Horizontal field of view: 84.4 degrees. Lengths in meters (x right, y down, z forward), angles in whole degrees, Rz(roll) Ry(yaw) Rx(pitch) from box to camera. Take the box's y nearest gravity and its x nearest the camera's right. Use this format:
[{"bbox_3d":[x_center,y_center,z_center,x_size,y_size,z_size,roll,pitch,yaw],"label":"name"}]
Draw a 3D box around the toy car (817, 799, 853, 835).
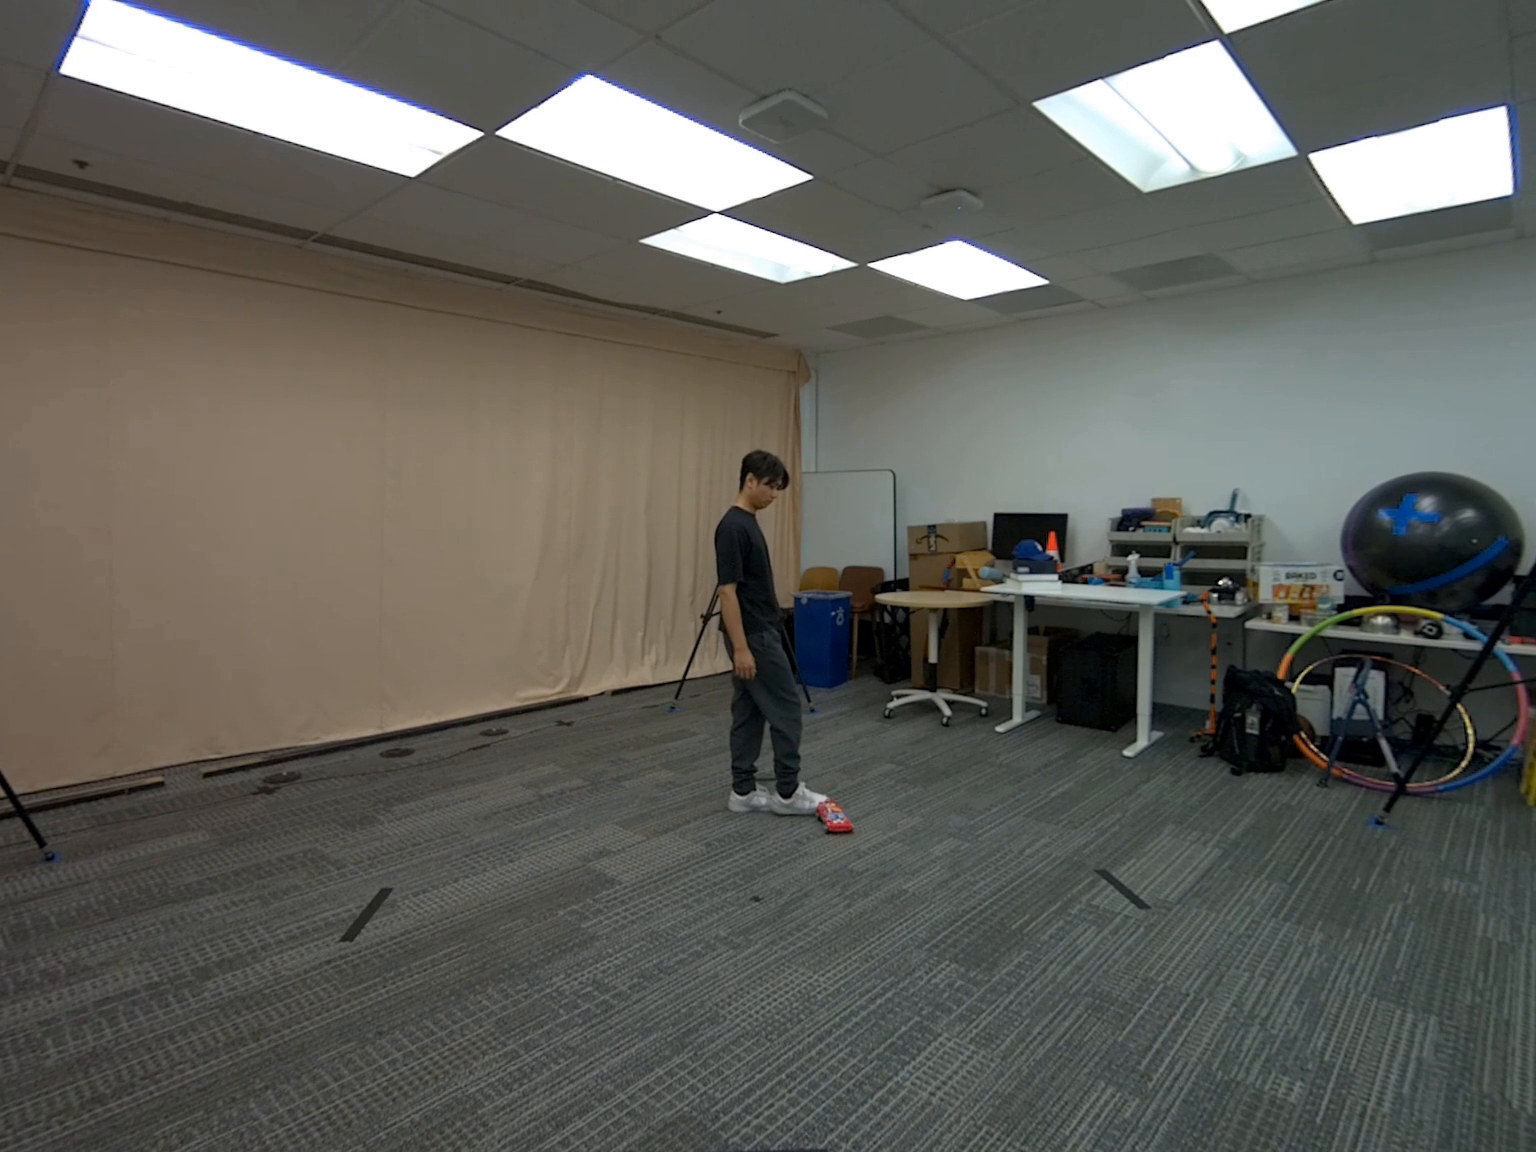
[{"bbox_3d":[0.289,1.055,3.679,0.129,0.082,0.259,0,16,-9],"label":"toy car"}]
